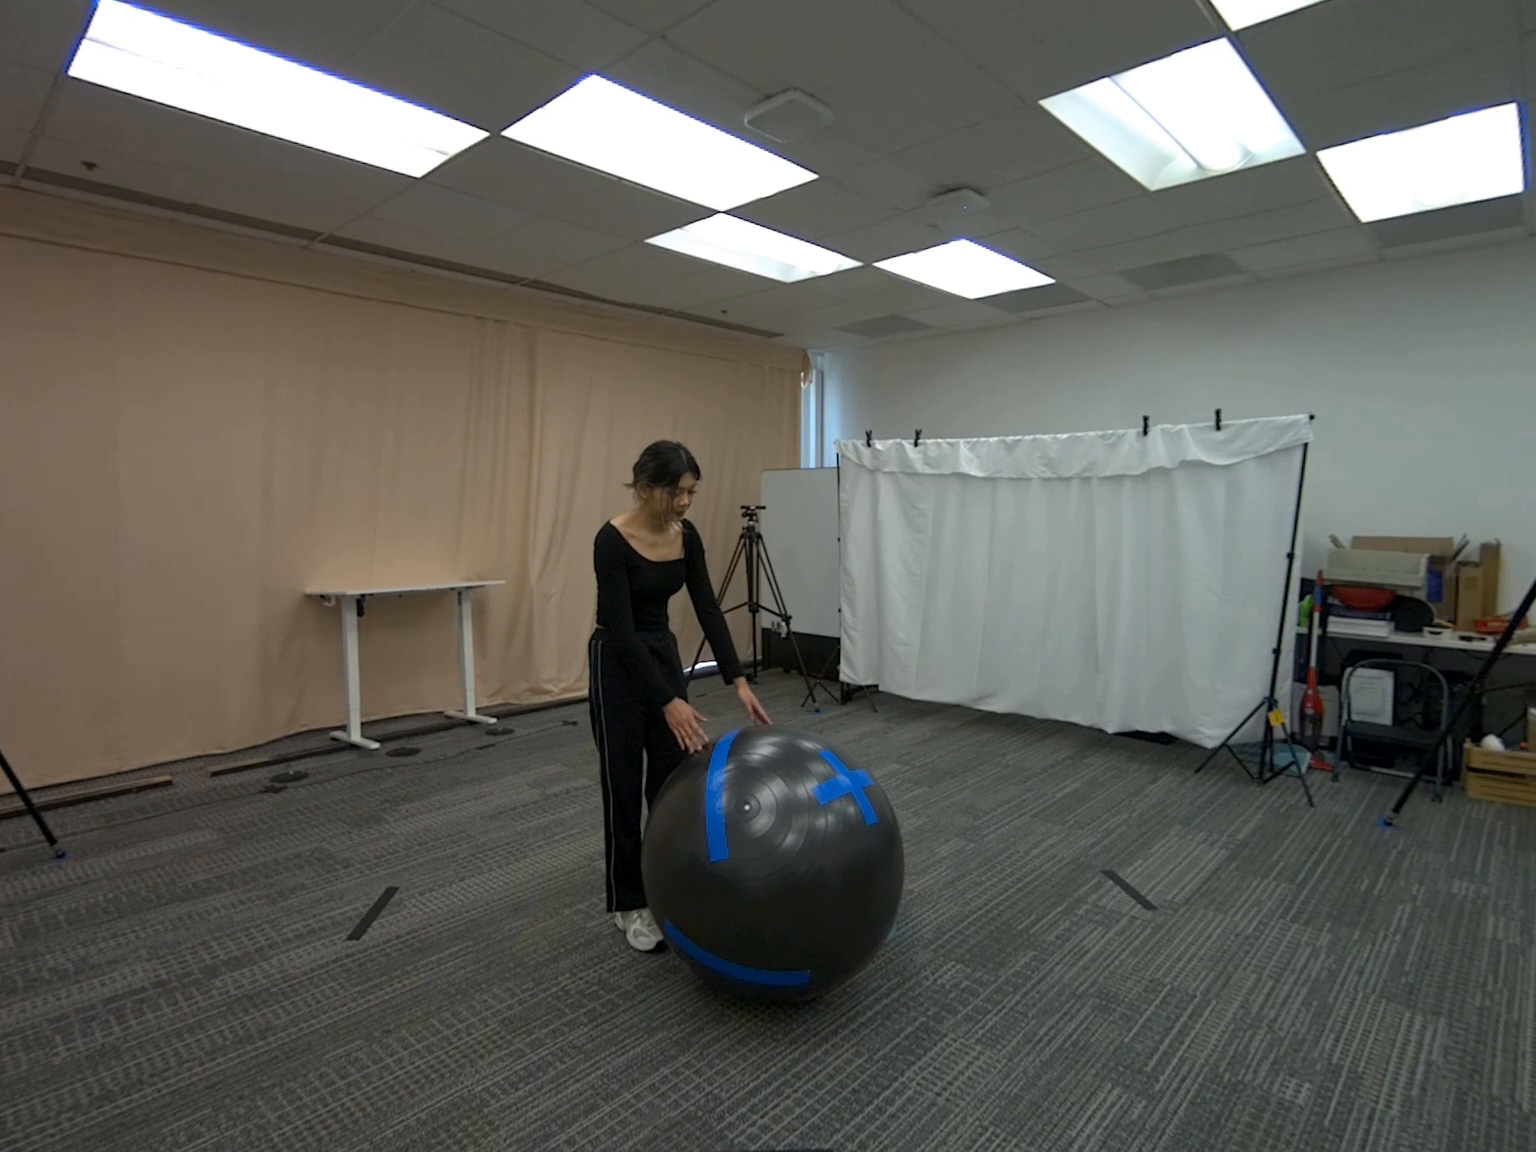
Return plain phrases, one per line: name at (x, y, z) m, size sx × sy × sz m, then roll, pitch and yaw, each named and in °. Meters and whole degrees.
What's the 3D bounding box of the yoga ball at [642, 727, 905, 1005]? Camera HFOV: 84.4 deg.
yoga ball at (0.020, 0.836, 2.439) m, size 0.757 × 0.756 × 0.760 m, roll 0°, pitch 4°, yaw -2°
